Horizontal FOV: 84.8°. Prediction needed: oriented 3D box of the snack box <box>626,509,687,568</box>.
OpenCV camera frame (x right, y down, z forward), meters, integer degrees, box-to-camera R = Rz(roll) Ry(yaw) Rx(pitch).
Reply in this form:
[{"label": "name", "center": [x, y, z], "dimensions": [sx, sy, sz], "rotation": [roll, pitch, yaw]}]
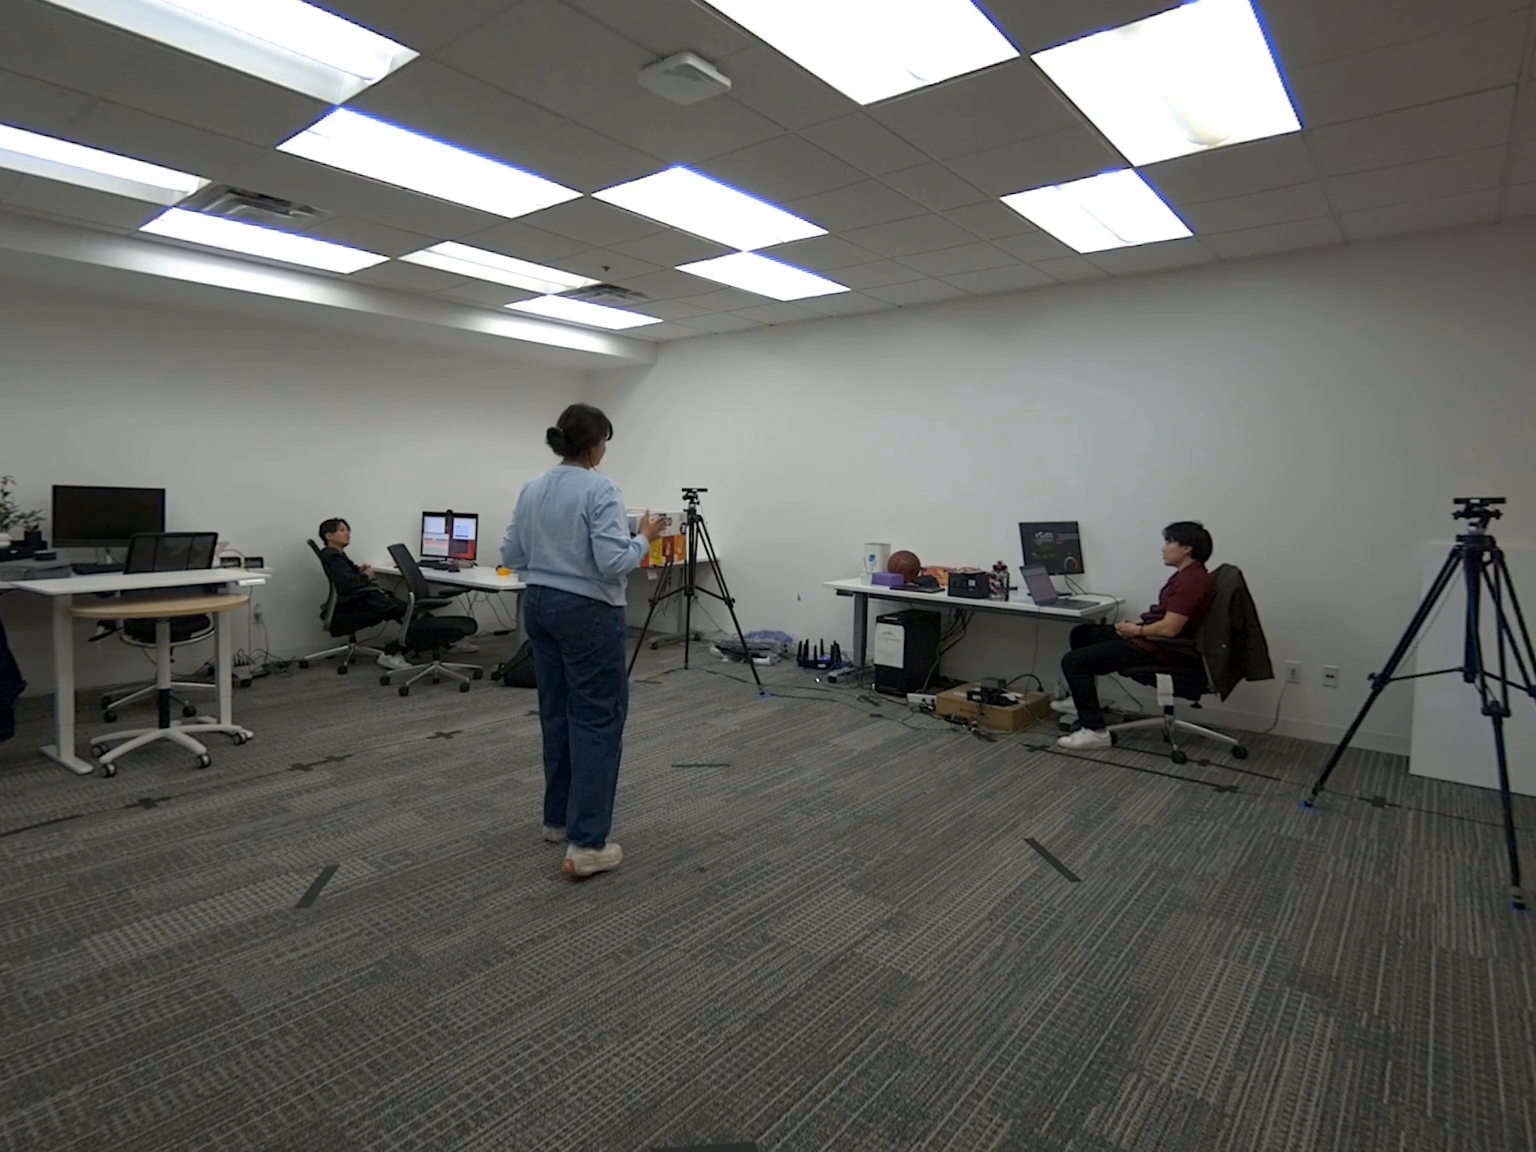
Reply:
[{"label": "snack box", "center": [-0.606, -0.171, 3.518], "dimensions": [0.418, 0.204, 0.332], "rotation": [6, 9, 31]}]
